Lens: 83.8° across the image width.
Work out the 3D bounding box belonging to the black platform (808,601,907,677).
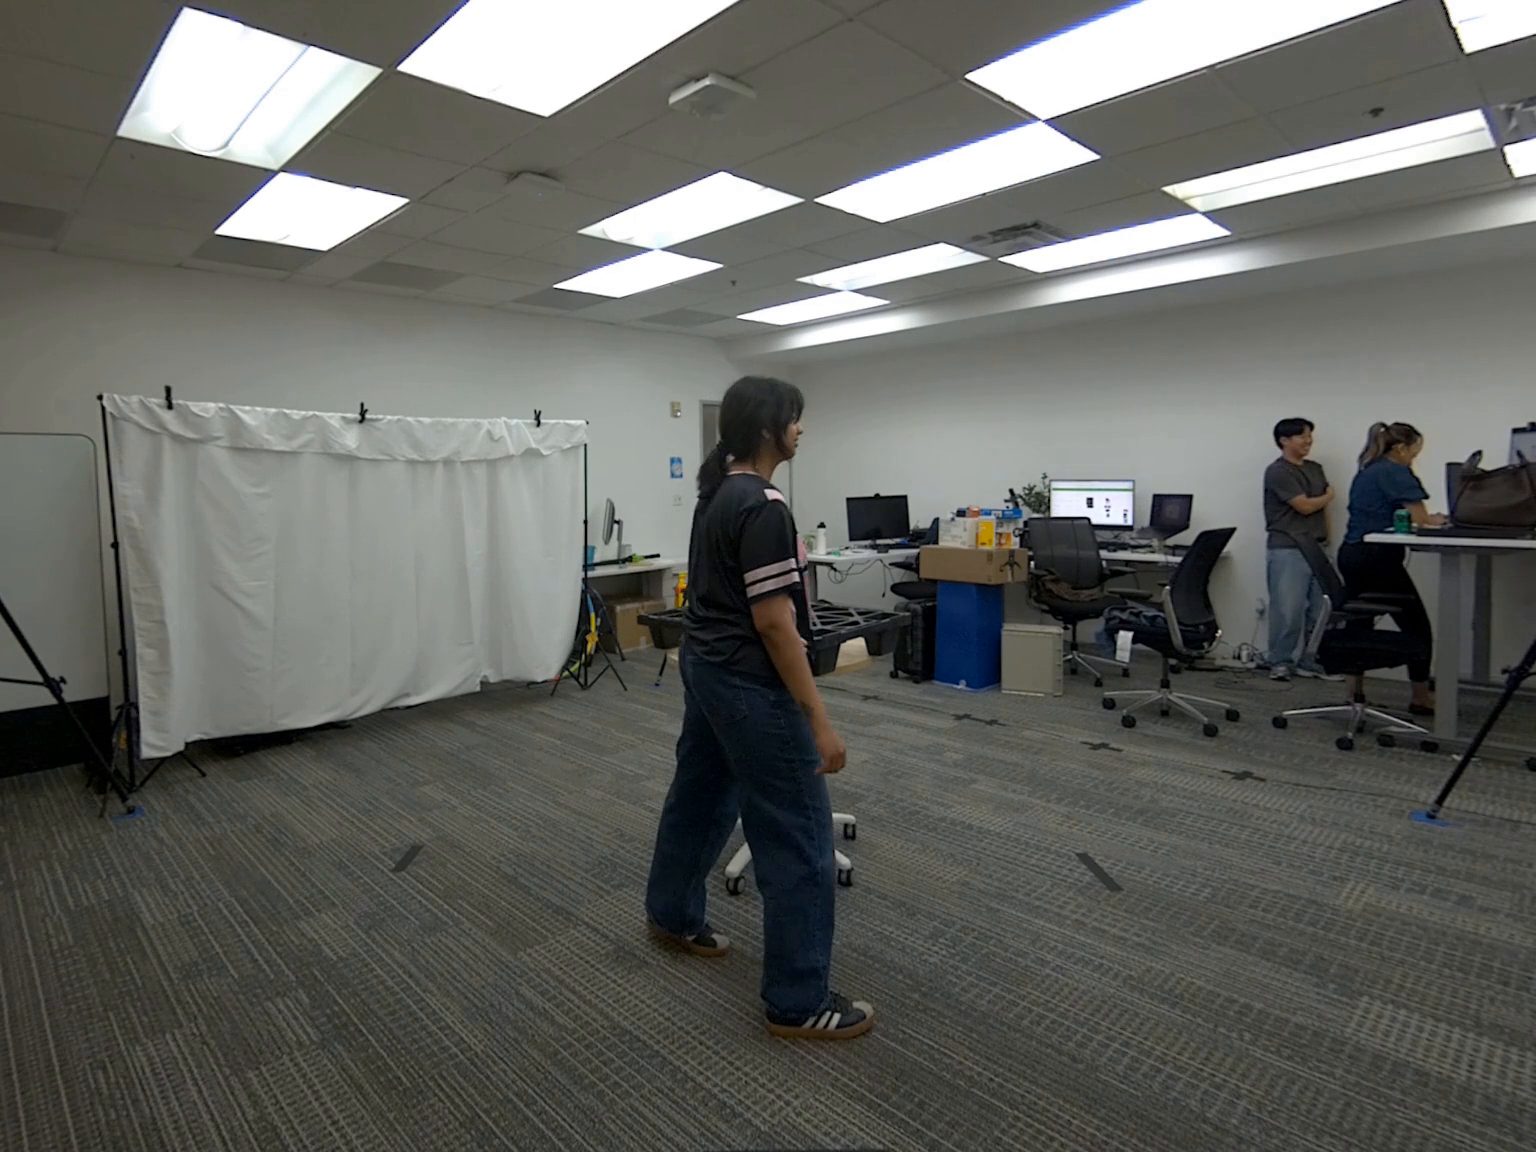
[{"bbox_3d":[0.018,0.205,3.053,0.830,0.142,0.590,5,9,41],"label":"black platform"}]
